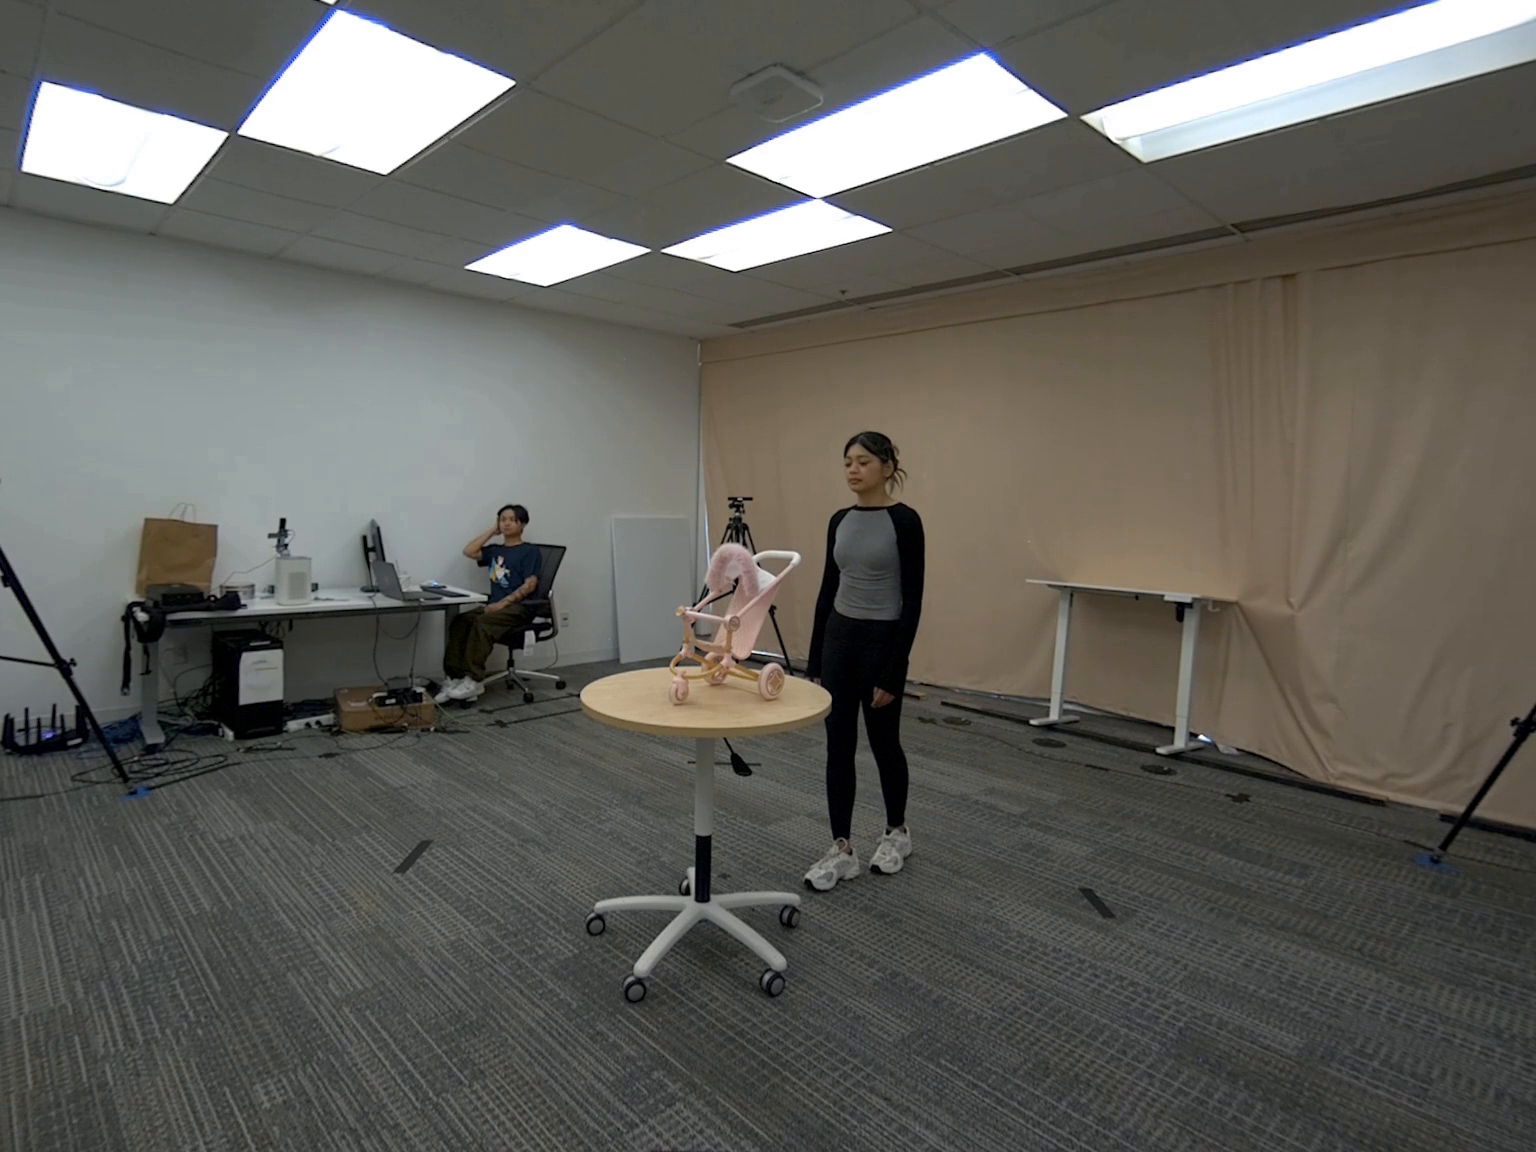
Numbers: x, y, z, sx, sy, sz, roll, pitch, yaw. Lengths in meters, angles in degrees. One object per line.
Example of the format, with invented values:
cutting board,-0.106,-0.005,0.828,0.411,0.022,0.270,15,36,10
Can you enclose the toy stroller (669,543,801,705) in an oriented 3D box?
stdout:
toy stroller,-0.124,0.144,2.545,0.331,0.537,0.288,18,-8,-39
